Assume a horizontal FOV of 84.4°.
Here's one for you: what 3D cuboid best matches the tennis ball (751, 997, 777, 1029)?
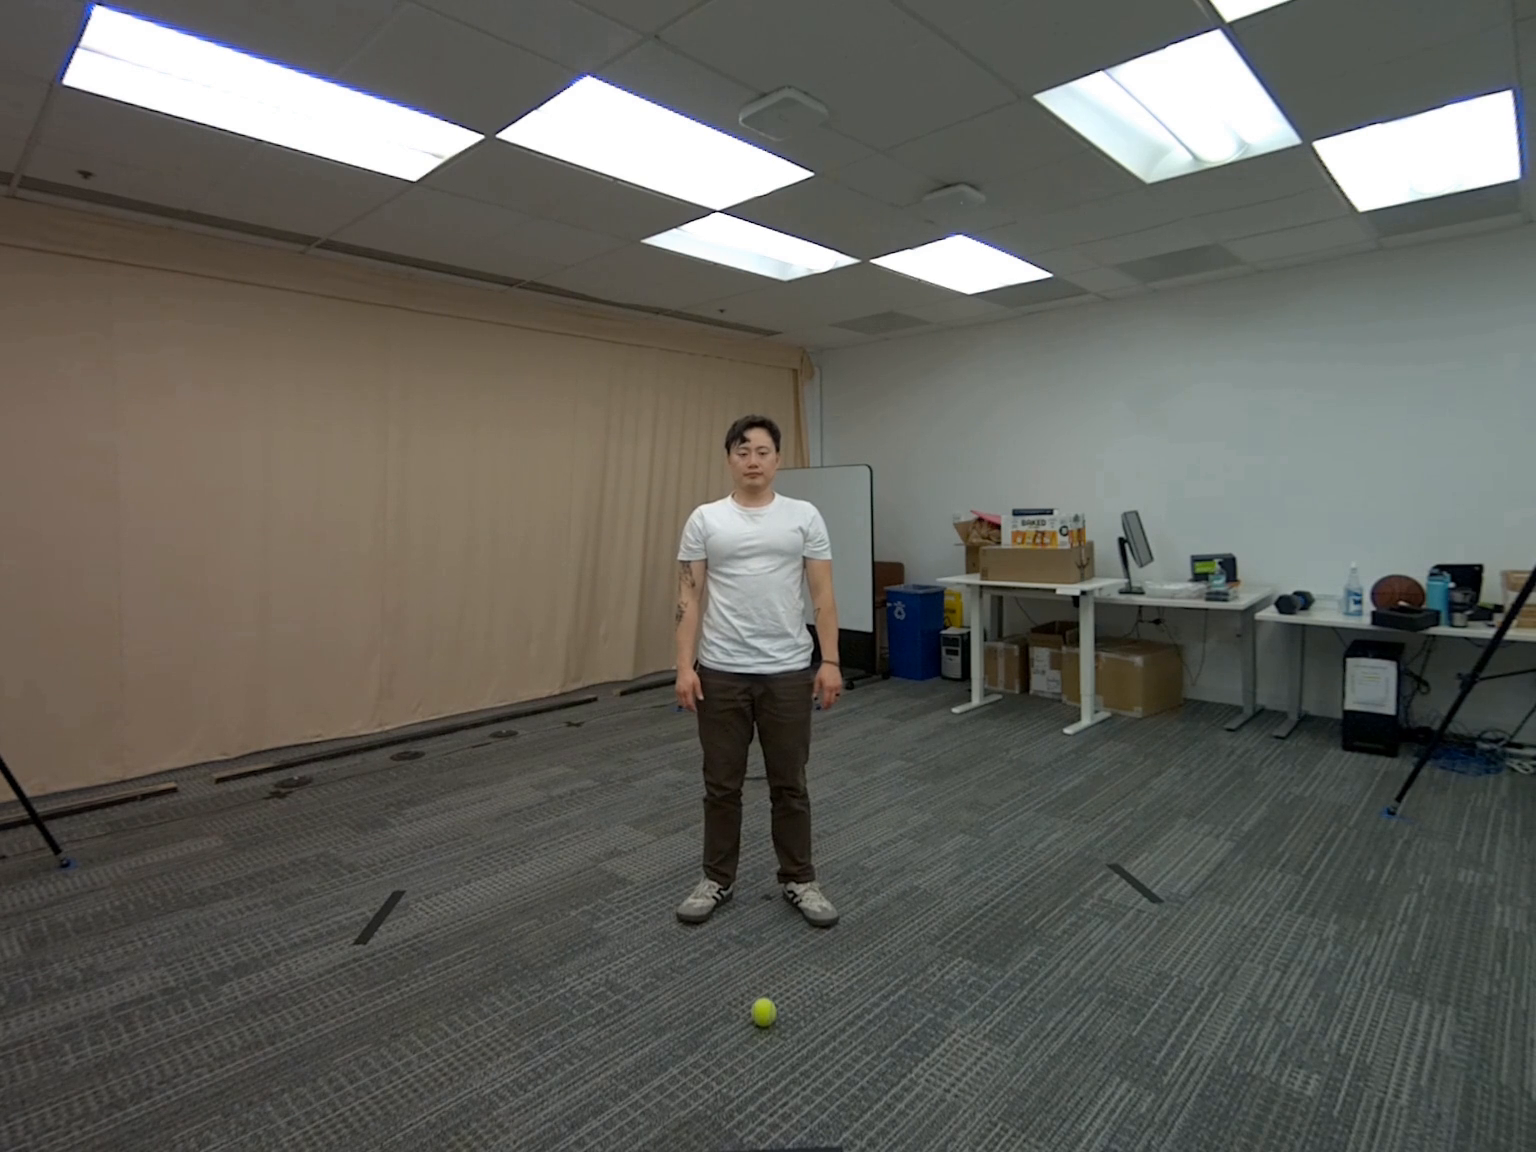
[{"bbox_3d":[-0.009,1.153,2.247,0.066,0.066,0.067,-1,4,-2],"label":"tennis ball"}]
